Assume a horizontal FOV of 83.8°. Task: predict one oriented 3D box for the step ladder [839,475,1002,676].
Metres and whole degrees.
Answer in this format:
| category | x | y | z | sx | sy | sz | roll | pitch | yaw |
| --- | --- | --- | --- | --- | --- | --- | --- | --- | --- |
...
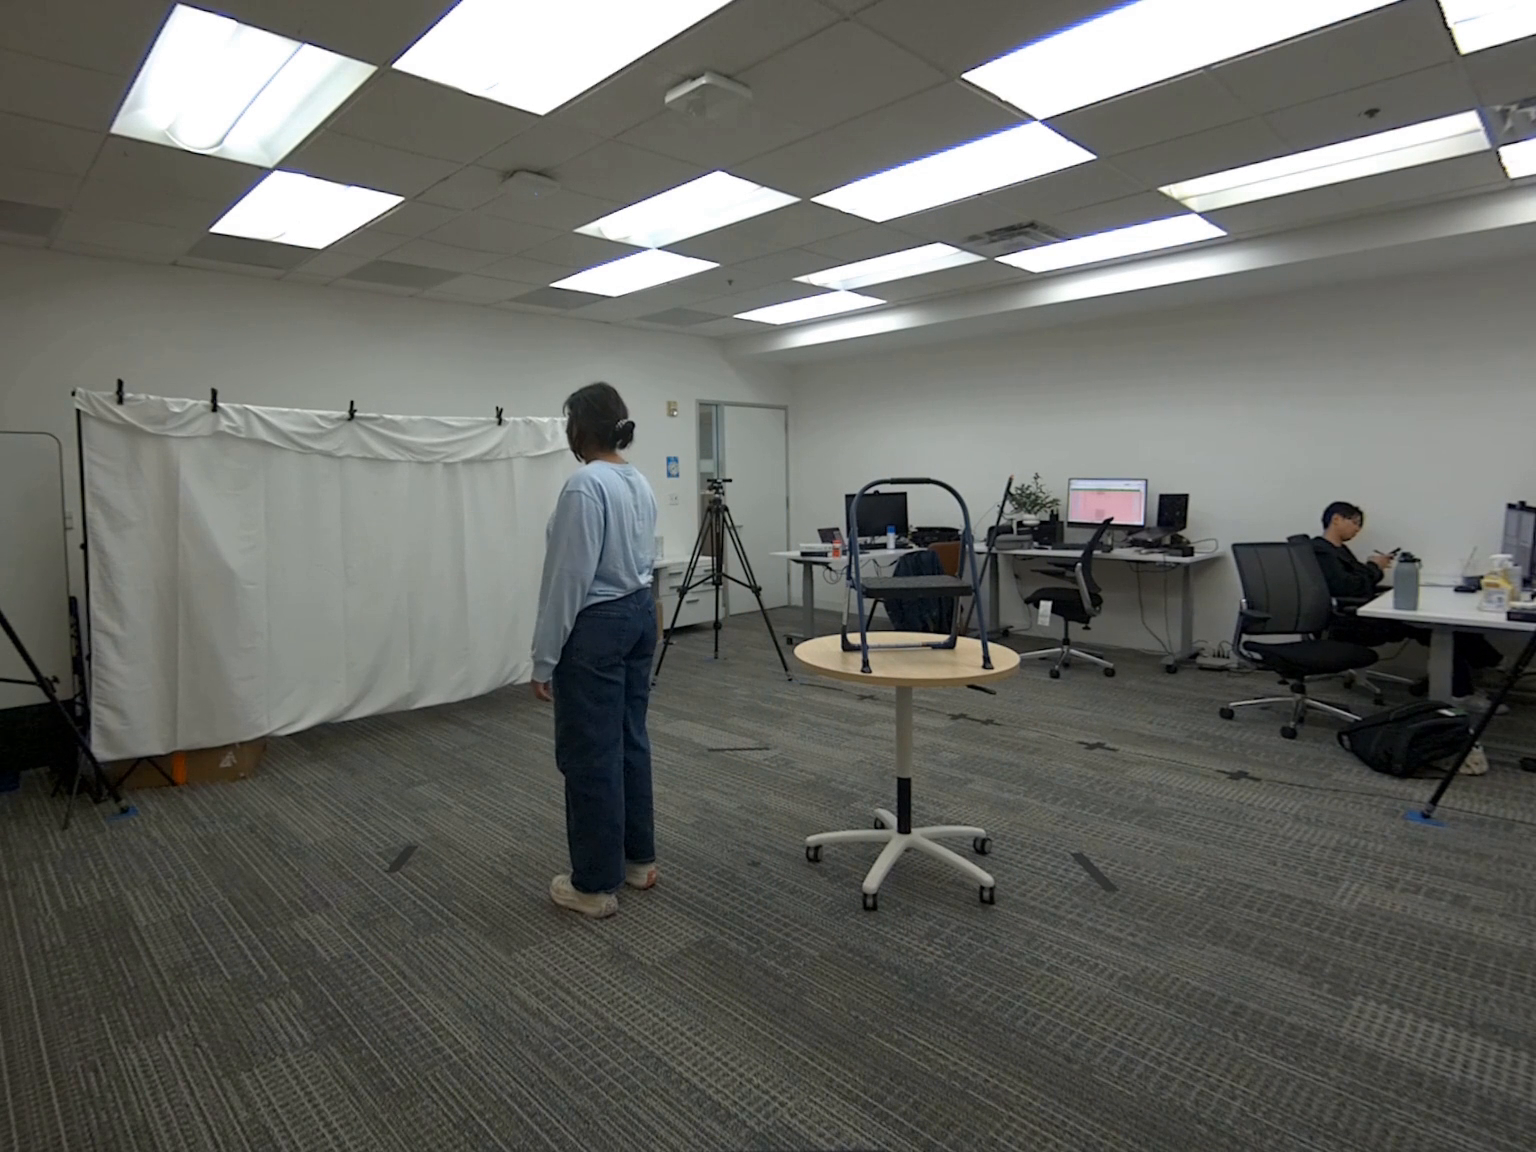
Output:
| category | x | y | z | sx | sy | sz | roll | pitch | yaw |
| --- | --- | --- | --- | --- | --- | --- | --- | --- | --- |
| step ladder | 0.489 | -0.022 | 2.844 | 0.428 | 0.603 | 0.353 | -2 | 6 | -6 |
